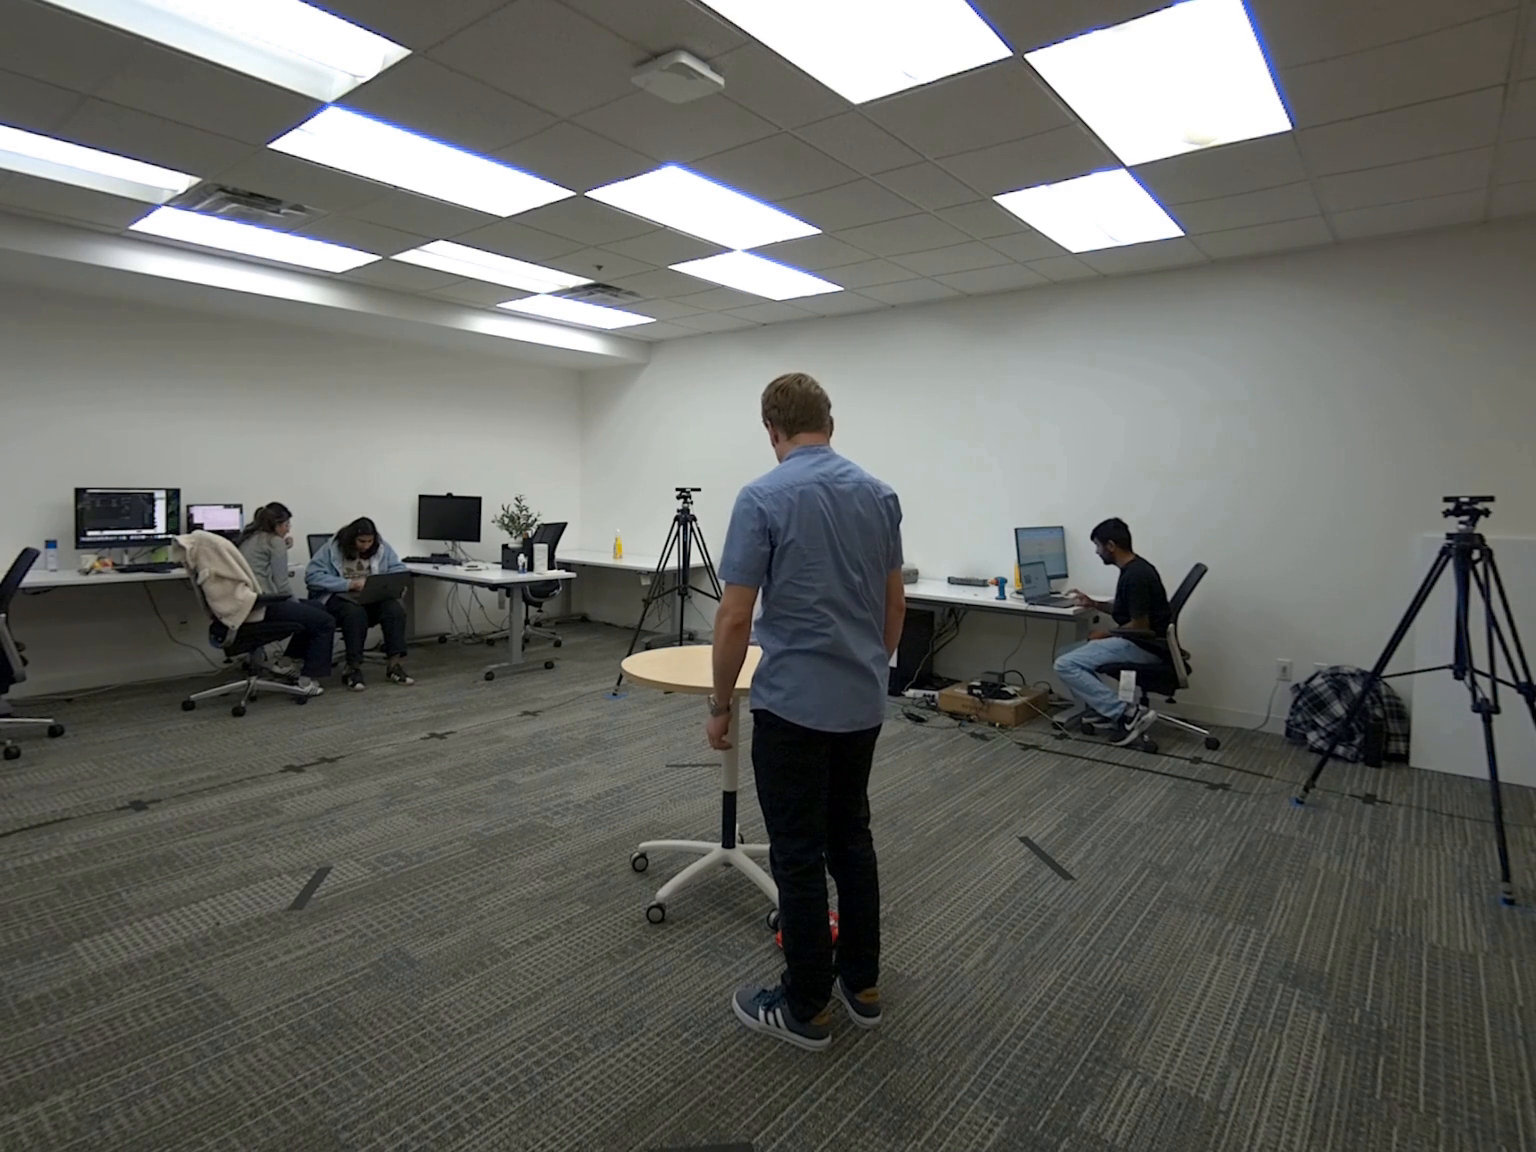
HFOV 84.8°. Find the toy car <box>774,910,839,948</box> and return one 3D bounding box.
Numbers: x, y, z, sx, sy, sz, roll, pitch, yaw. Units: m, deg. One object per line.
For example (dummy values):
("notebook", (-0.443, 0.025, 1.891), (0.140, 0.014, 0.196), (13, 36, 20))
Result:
("toy car", (0.152, 1.093, 2.589), (0.249, 0.082, 0.134), (-16, 14, -31))
